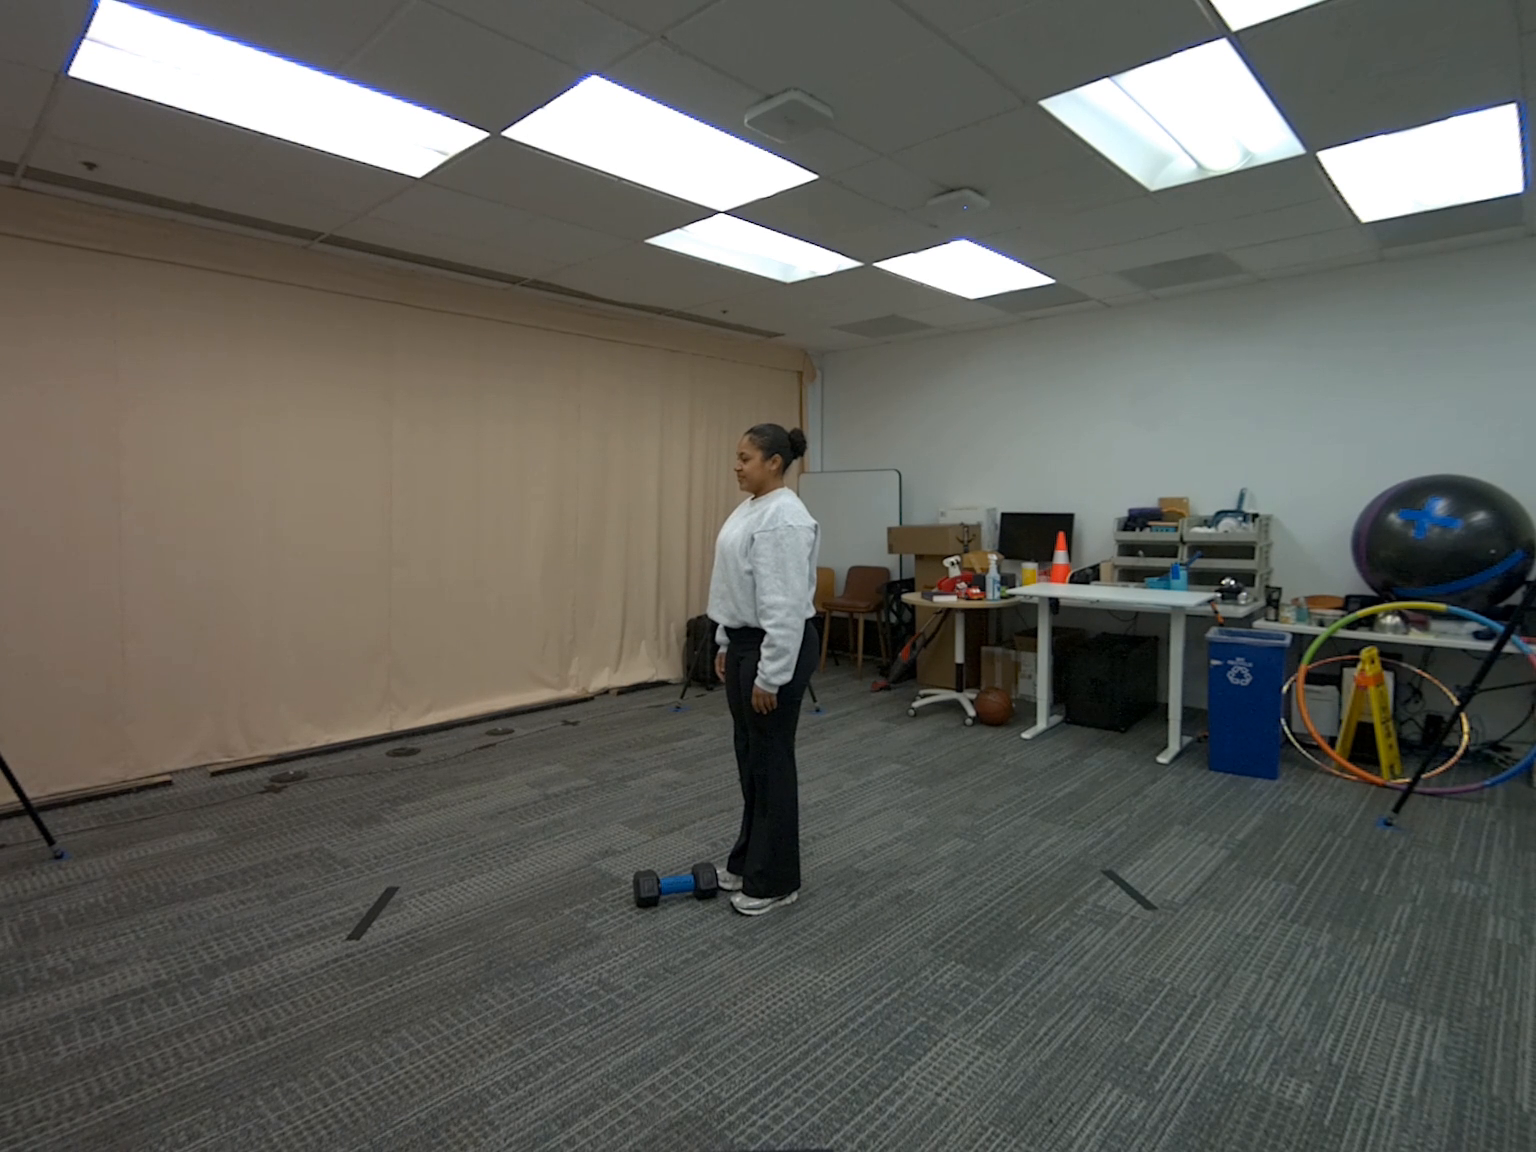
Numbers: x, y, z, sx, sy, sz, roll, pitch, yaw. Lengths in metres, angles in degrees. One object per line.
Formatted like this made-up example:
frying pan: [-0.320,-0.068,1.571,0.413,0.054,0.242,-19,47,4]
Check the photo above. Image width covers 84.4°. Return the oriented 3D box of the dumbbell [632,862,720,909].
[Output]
dumbbell: [-0.326,1.100,2.982,0.289,0.121,0.112,-1,31,-16]
